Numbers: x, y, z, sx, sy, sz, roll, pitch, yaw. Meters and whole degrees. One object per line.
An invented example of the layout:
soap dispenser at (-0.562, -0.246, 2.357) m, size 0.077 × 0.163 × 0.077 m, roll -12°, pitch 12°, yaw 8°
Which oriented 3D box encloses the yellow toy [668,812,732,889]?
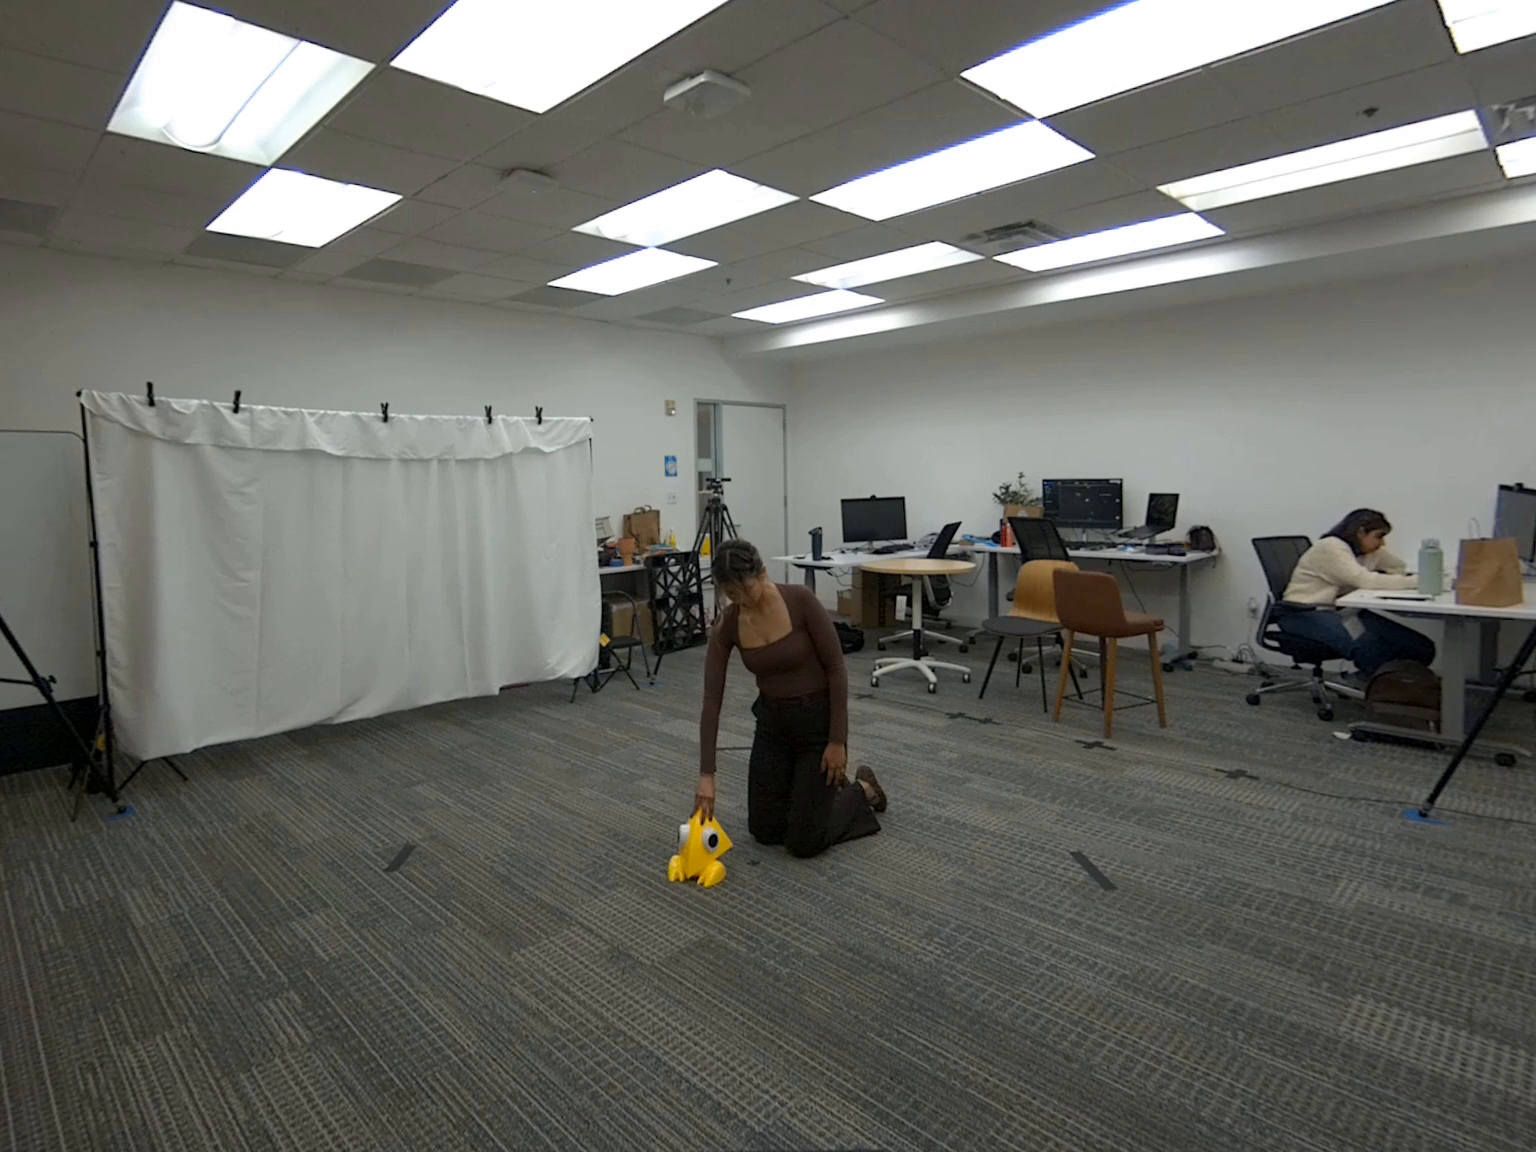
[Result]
yellow toy at (-0.249, 0.941, 3.024) m, size 0.208 × 0.230 × 0.190 m, roll 1°, pitch 3°, yaw 18°
